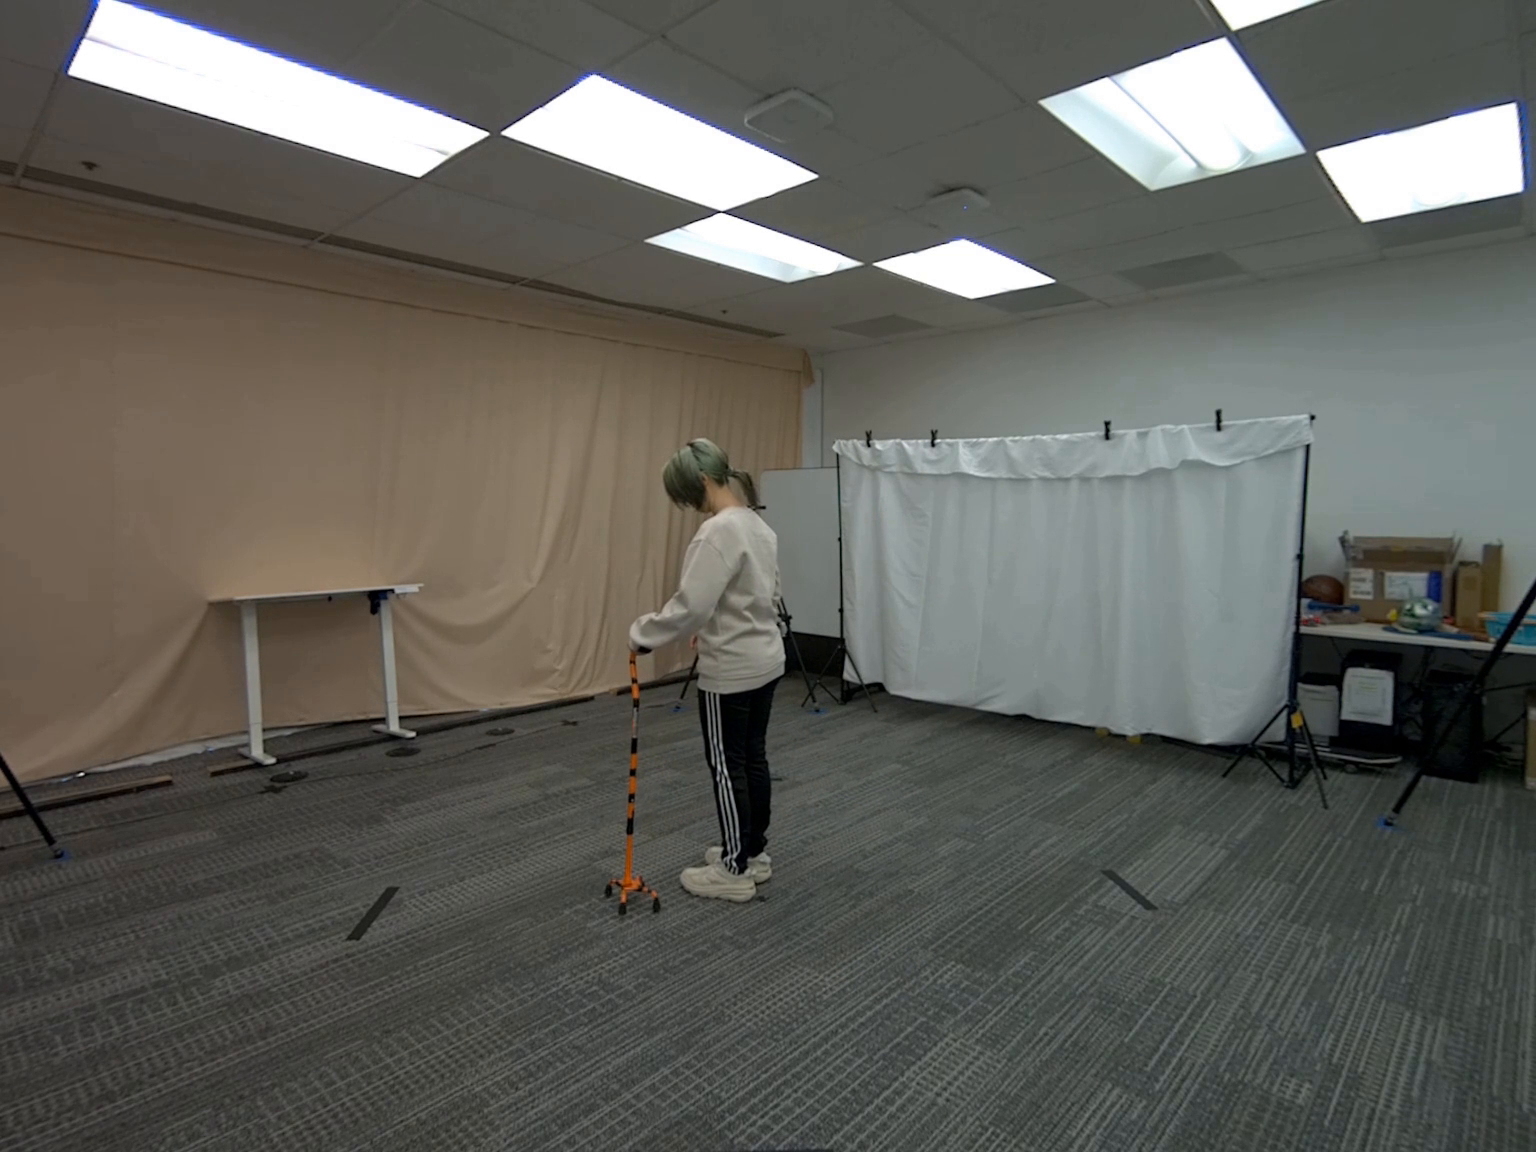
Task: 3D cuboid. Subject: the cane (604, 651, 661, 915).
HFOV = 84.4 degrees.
[{"bbox_3d":[-0.461,0.693,2.967,0.148,0.908,0.211,1,-1,-23],"label":"cane"}]
